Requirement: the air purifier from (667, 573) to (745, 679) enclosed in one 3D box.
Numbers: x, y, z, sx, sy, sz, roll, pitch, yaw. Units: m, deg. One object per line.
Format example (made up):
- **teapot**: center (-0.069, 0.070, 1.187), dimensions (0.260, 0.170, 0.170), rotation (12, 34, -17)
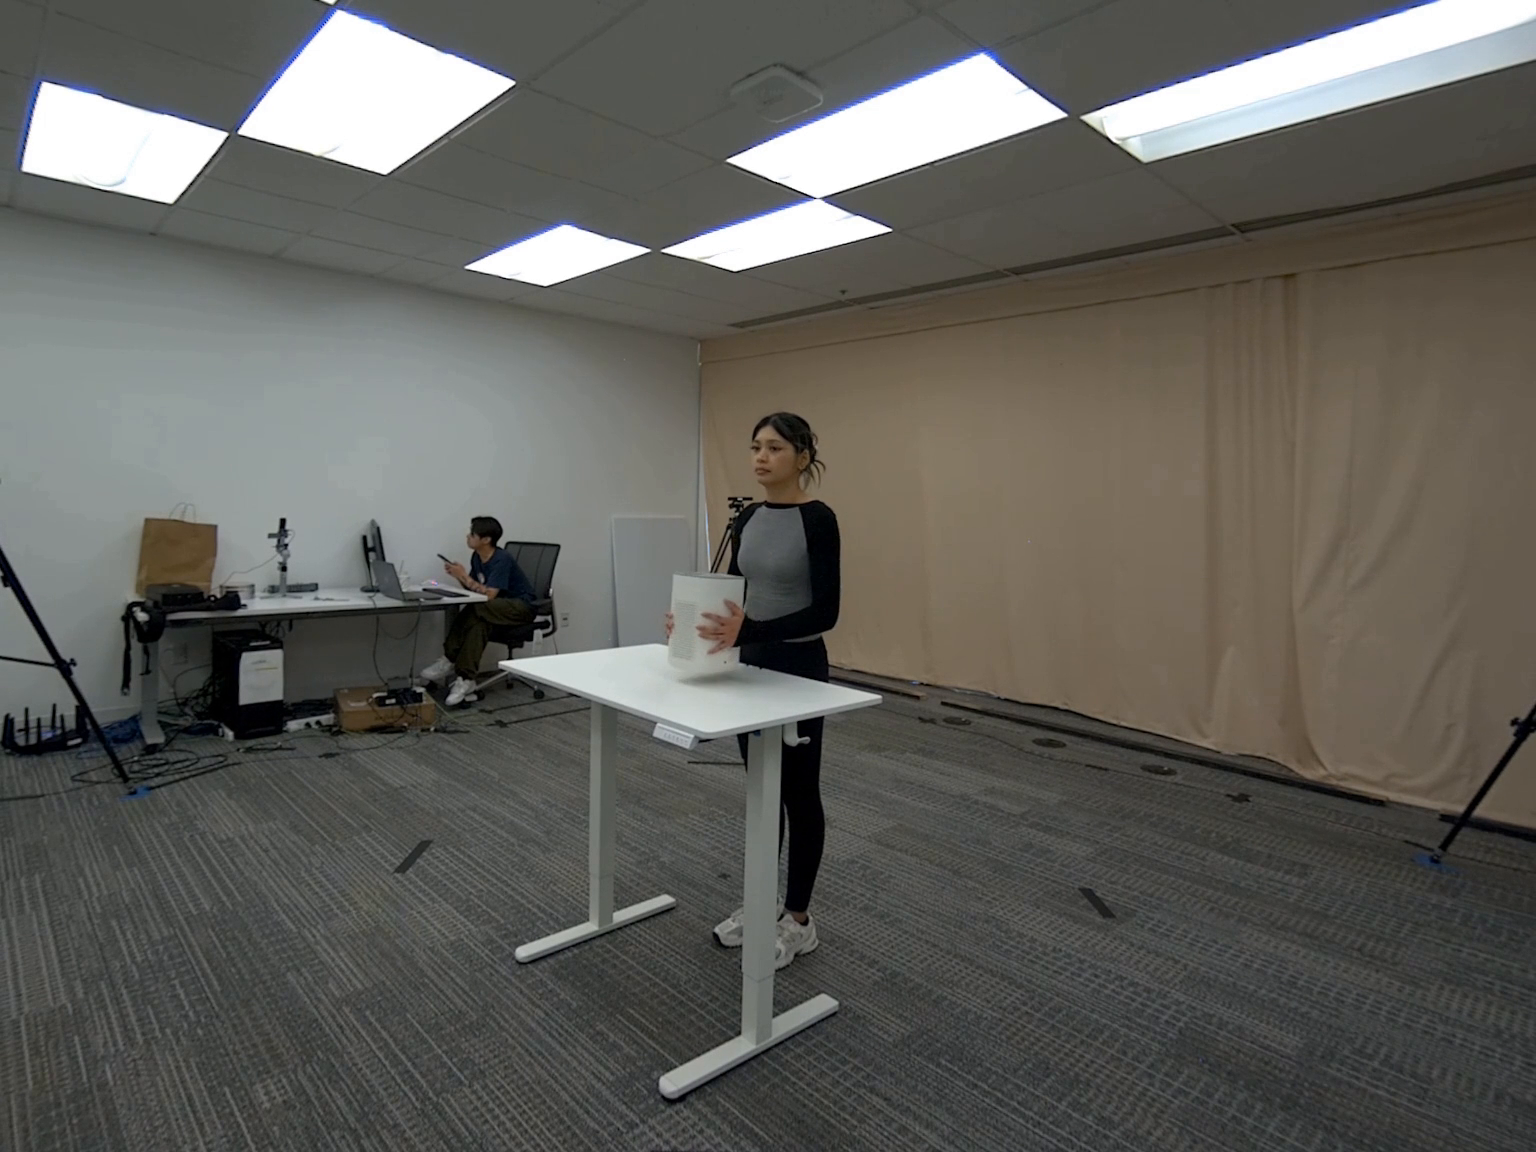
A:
- **air purifier**: center (-0.174, 0.134, 2.341), dimensions (0.176, 0.265, 0.167), rotation (4, 0, 41)
